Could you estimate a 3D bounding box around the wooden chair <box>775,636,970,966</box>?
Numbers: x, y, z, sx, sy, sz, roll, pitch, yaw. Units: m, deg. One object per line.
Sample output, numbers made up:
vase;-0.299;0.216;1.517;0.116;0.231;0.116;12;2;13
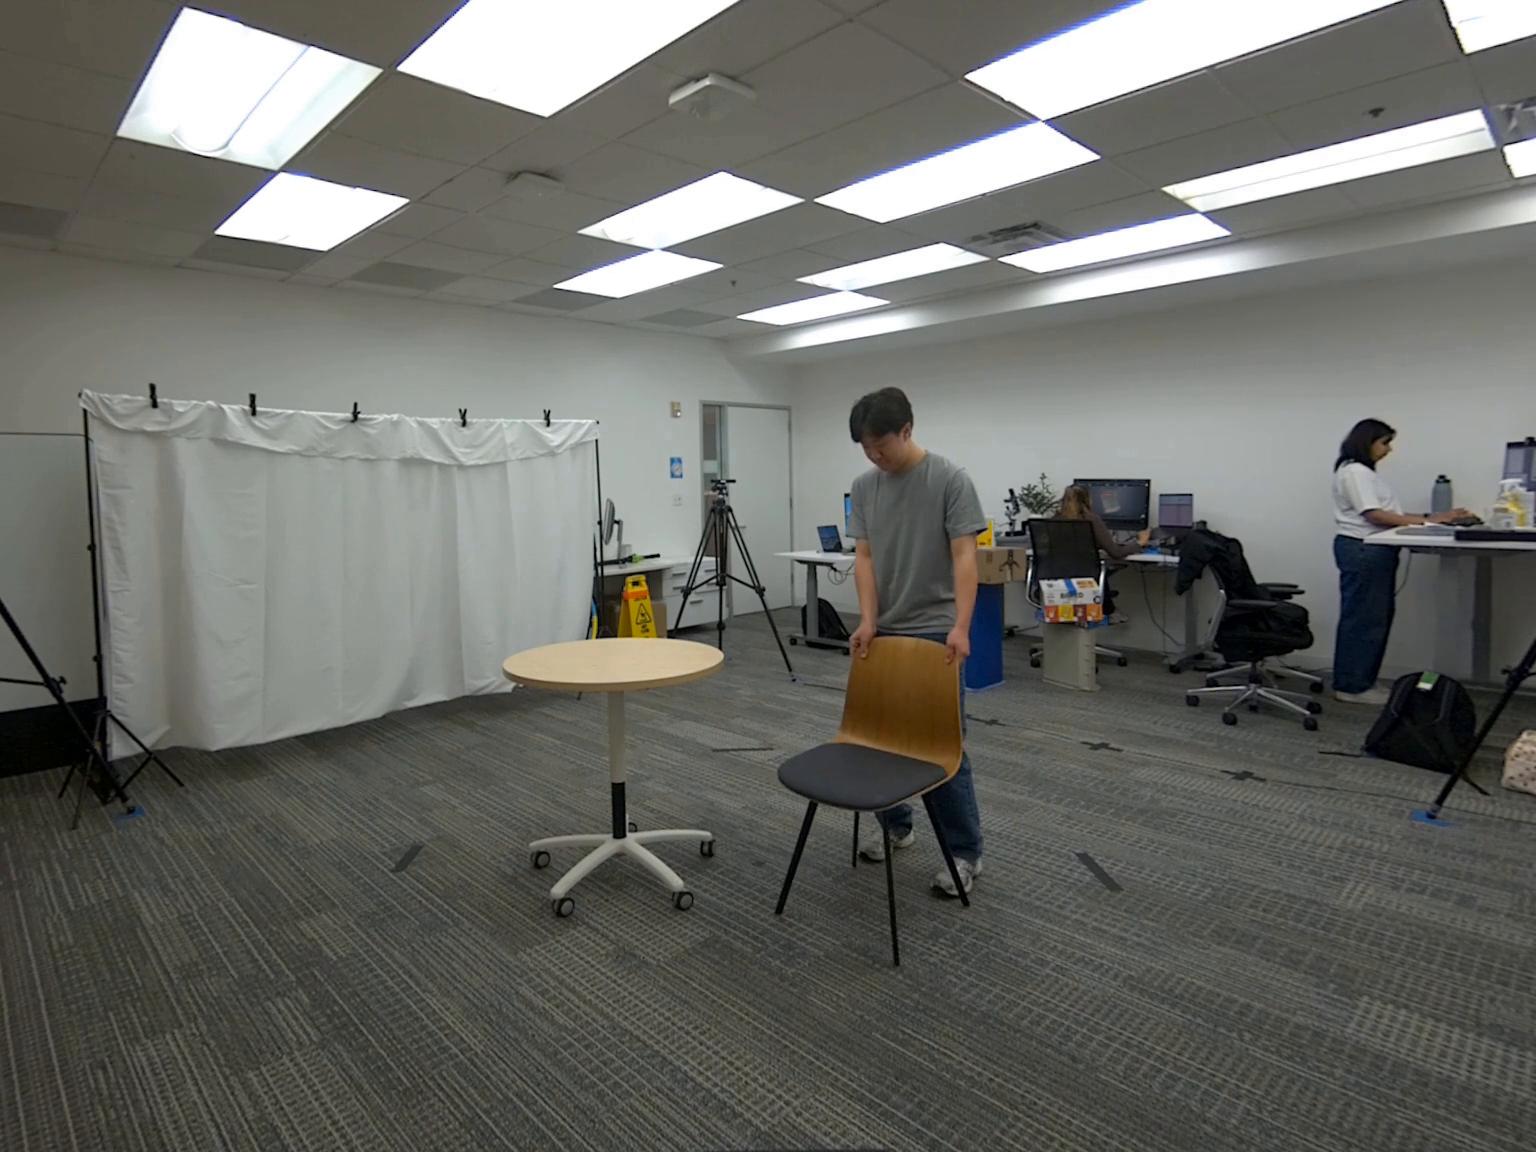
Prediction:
wooden chair;0.325;0.652;2.714;0.492;0.877;0.508;3;1;40
